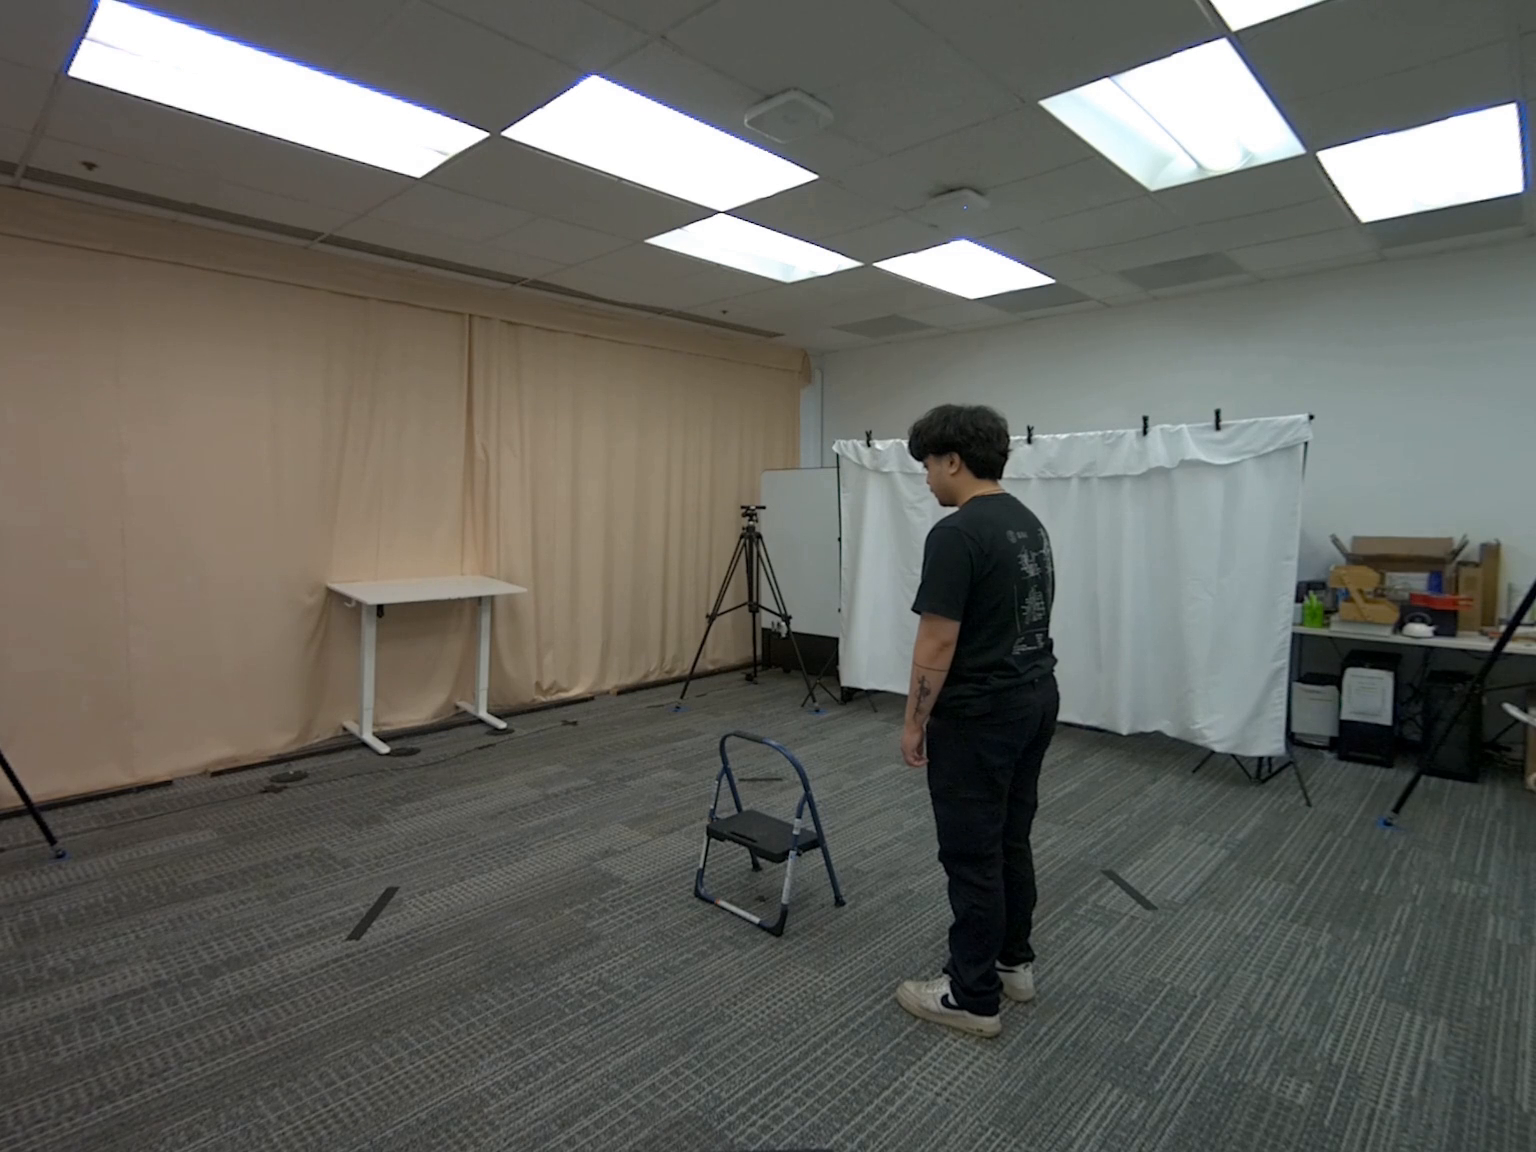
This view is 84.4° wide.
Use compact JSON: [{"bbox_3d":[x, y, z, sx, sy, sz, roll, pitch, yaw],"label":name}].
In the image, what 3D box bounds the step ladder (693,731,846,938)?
[{"bbox_3d":[0.003,0.841,2.959,0.445,0.605,0.338,3,4,43],"label":"step ladder"}]
